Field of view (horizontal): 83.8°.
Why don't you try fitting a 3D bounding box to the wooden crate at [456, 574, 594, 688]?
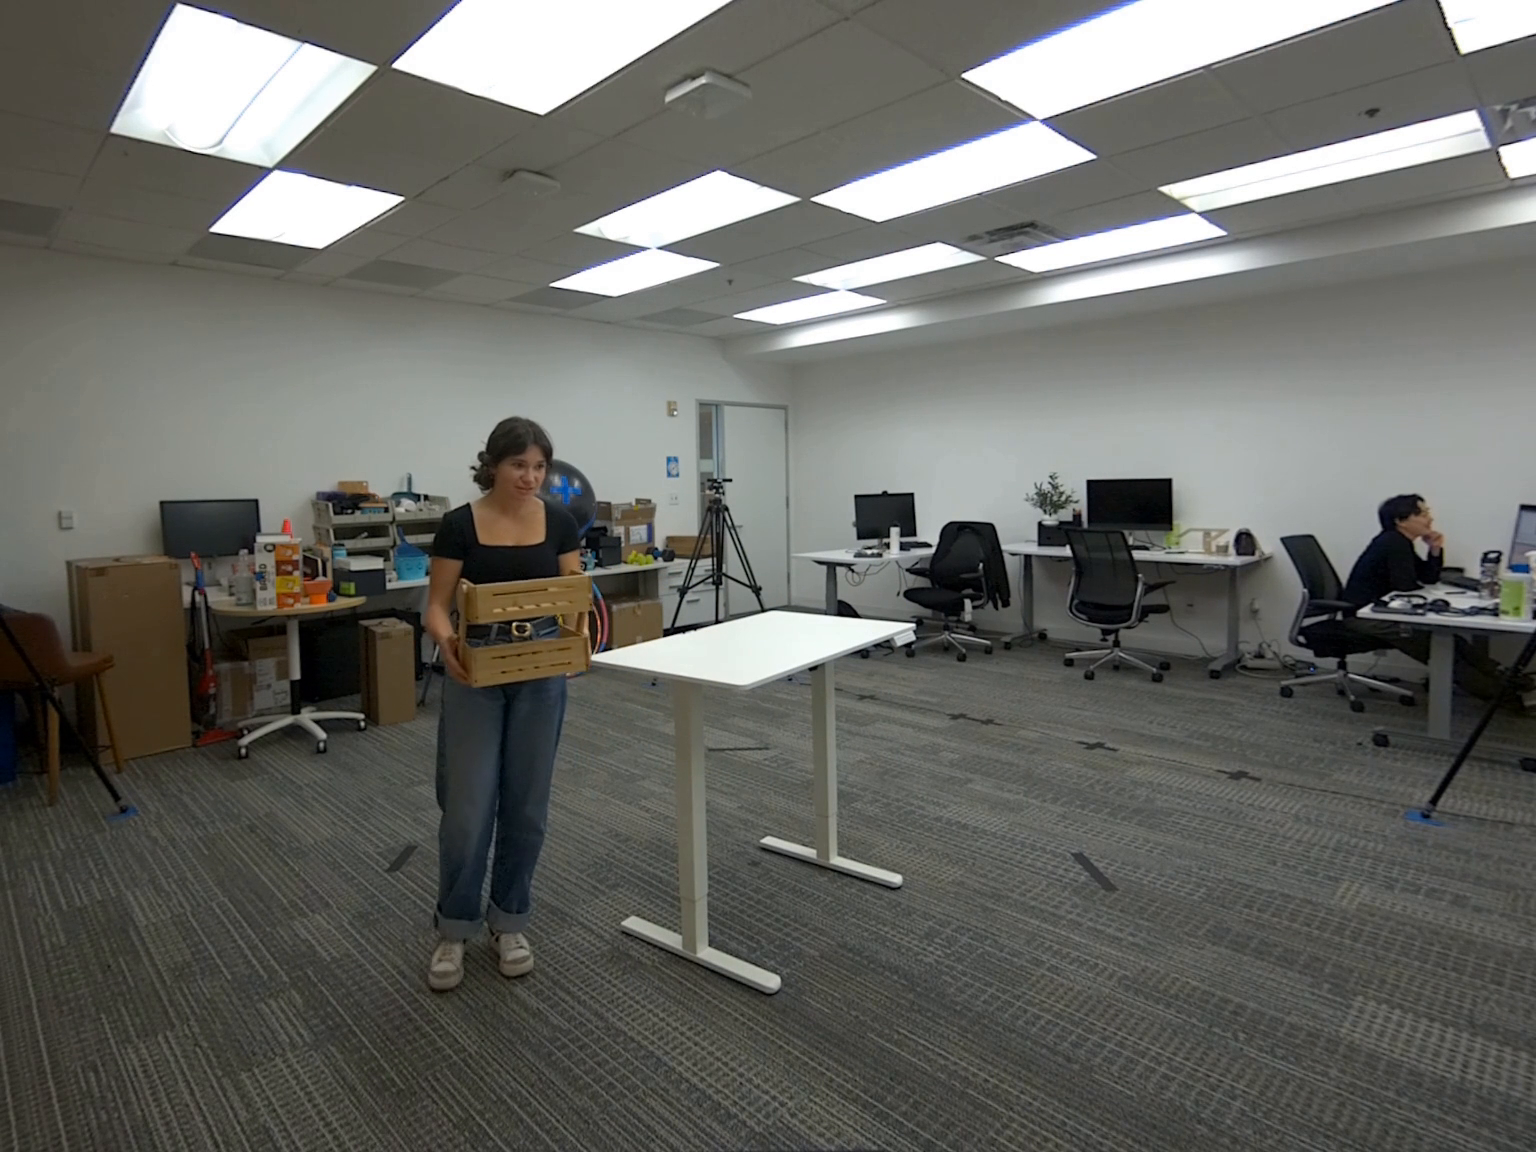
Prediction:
[{"bbox_3d":[-0.655,0.124,2.246,0.317,0.272,0.310,-5,7,-30],"label":"wooden crate"}]
